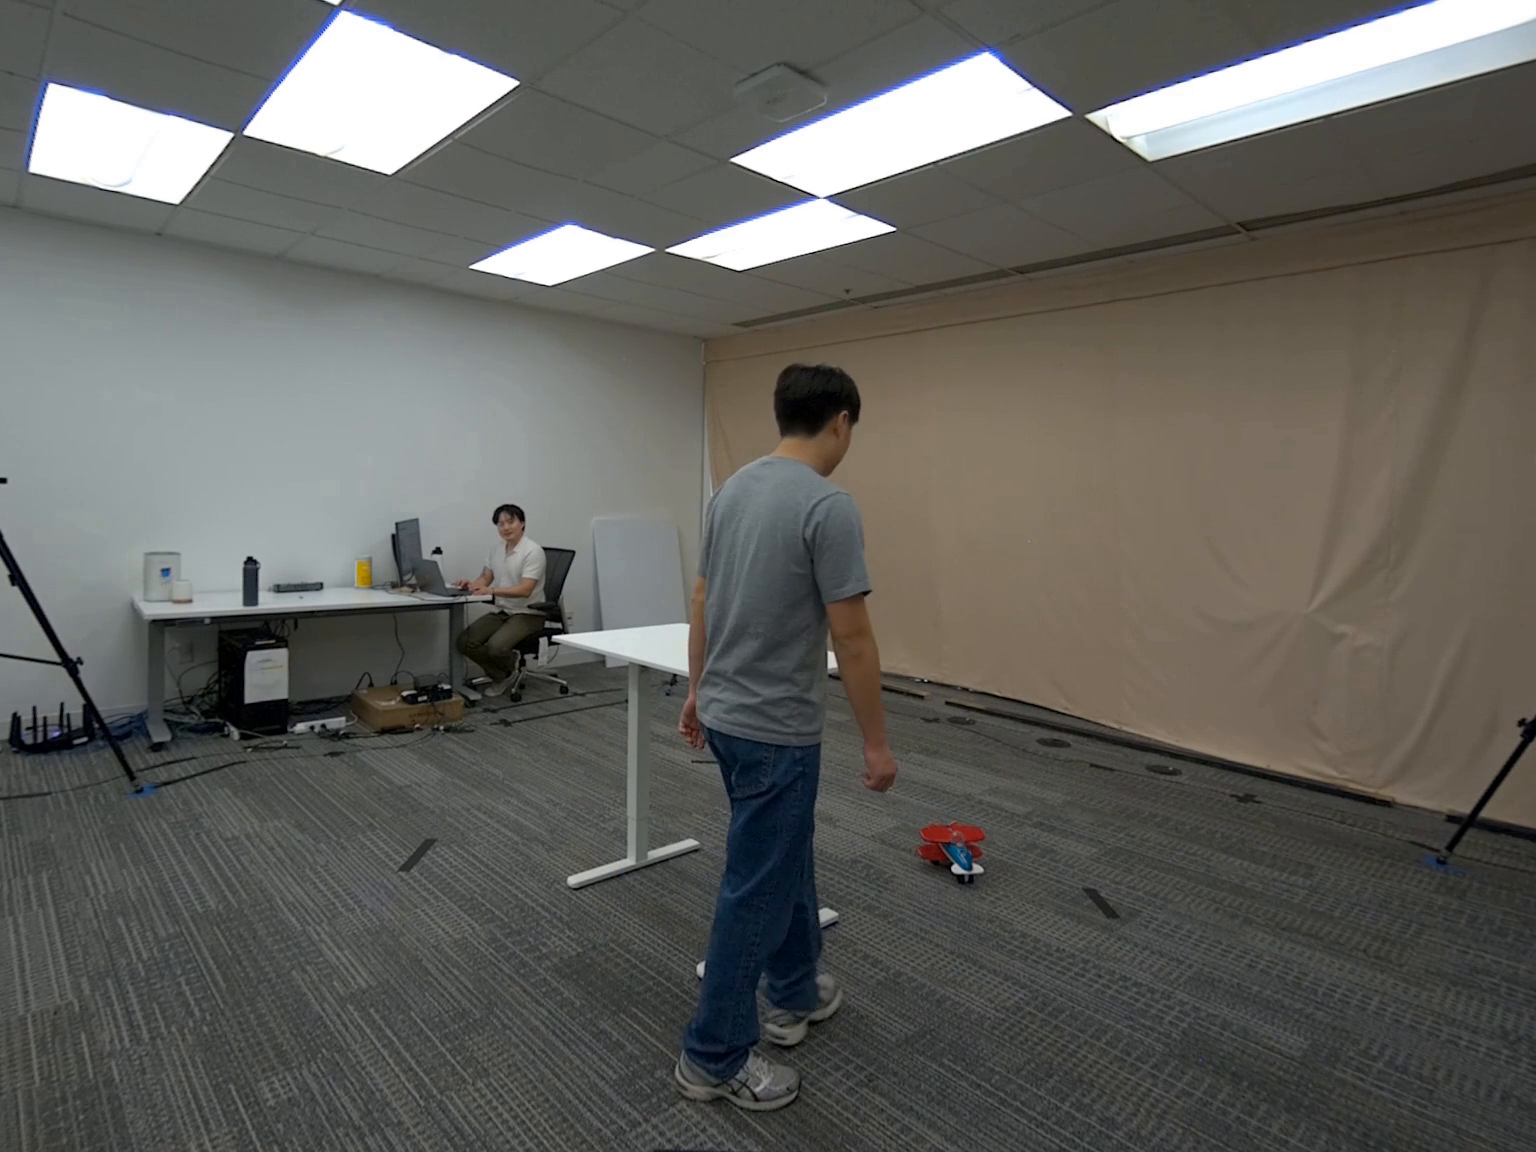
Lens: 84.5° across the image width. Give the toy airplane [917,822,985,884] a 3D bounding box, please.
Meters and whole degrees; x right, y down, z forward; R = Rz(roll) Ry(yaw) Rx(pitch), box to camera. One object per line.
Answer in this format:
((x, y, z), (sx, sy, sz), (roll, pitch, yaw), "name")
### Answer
((0.721, 1.047, 3.189), (0.245, 0.156, 0.266), (-2, 5, -41), "toy airplane")
